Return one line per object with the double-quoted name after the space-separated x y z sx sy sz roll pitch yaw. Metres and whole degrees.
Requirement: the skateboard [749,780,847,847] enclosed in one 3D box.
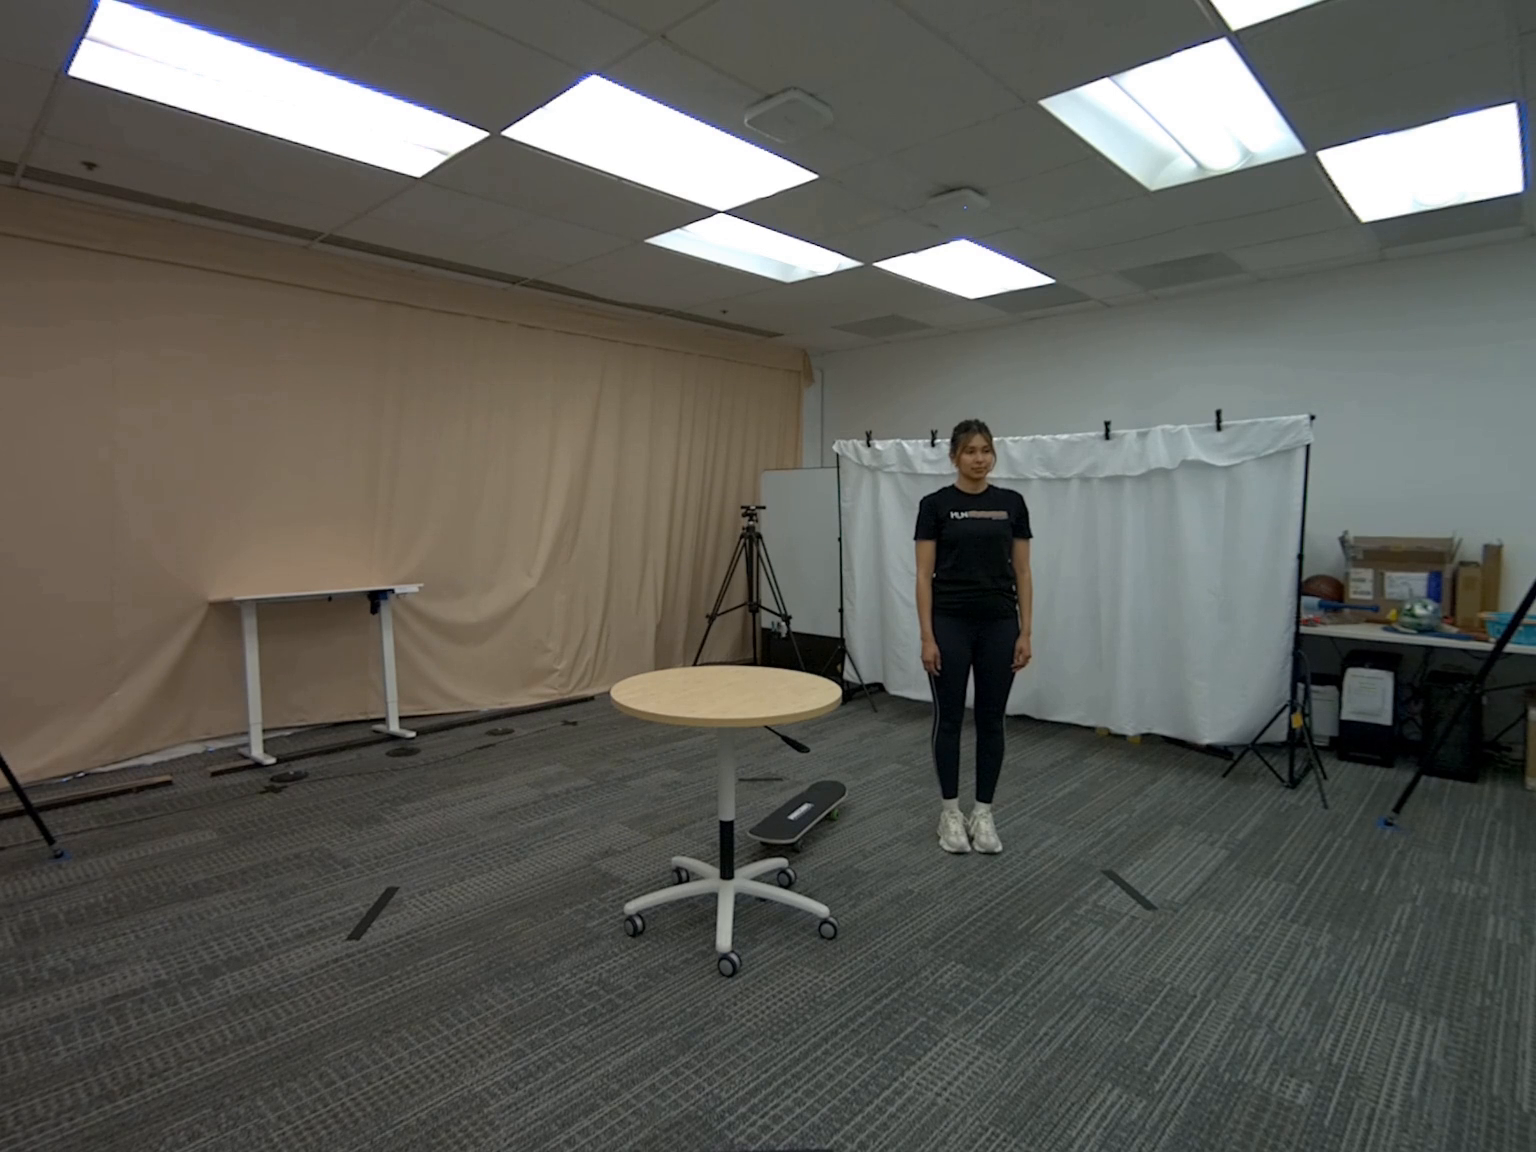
0.145 1.040 3.596 0.199 0.110 0.766 3 5 26 "skateboard"
